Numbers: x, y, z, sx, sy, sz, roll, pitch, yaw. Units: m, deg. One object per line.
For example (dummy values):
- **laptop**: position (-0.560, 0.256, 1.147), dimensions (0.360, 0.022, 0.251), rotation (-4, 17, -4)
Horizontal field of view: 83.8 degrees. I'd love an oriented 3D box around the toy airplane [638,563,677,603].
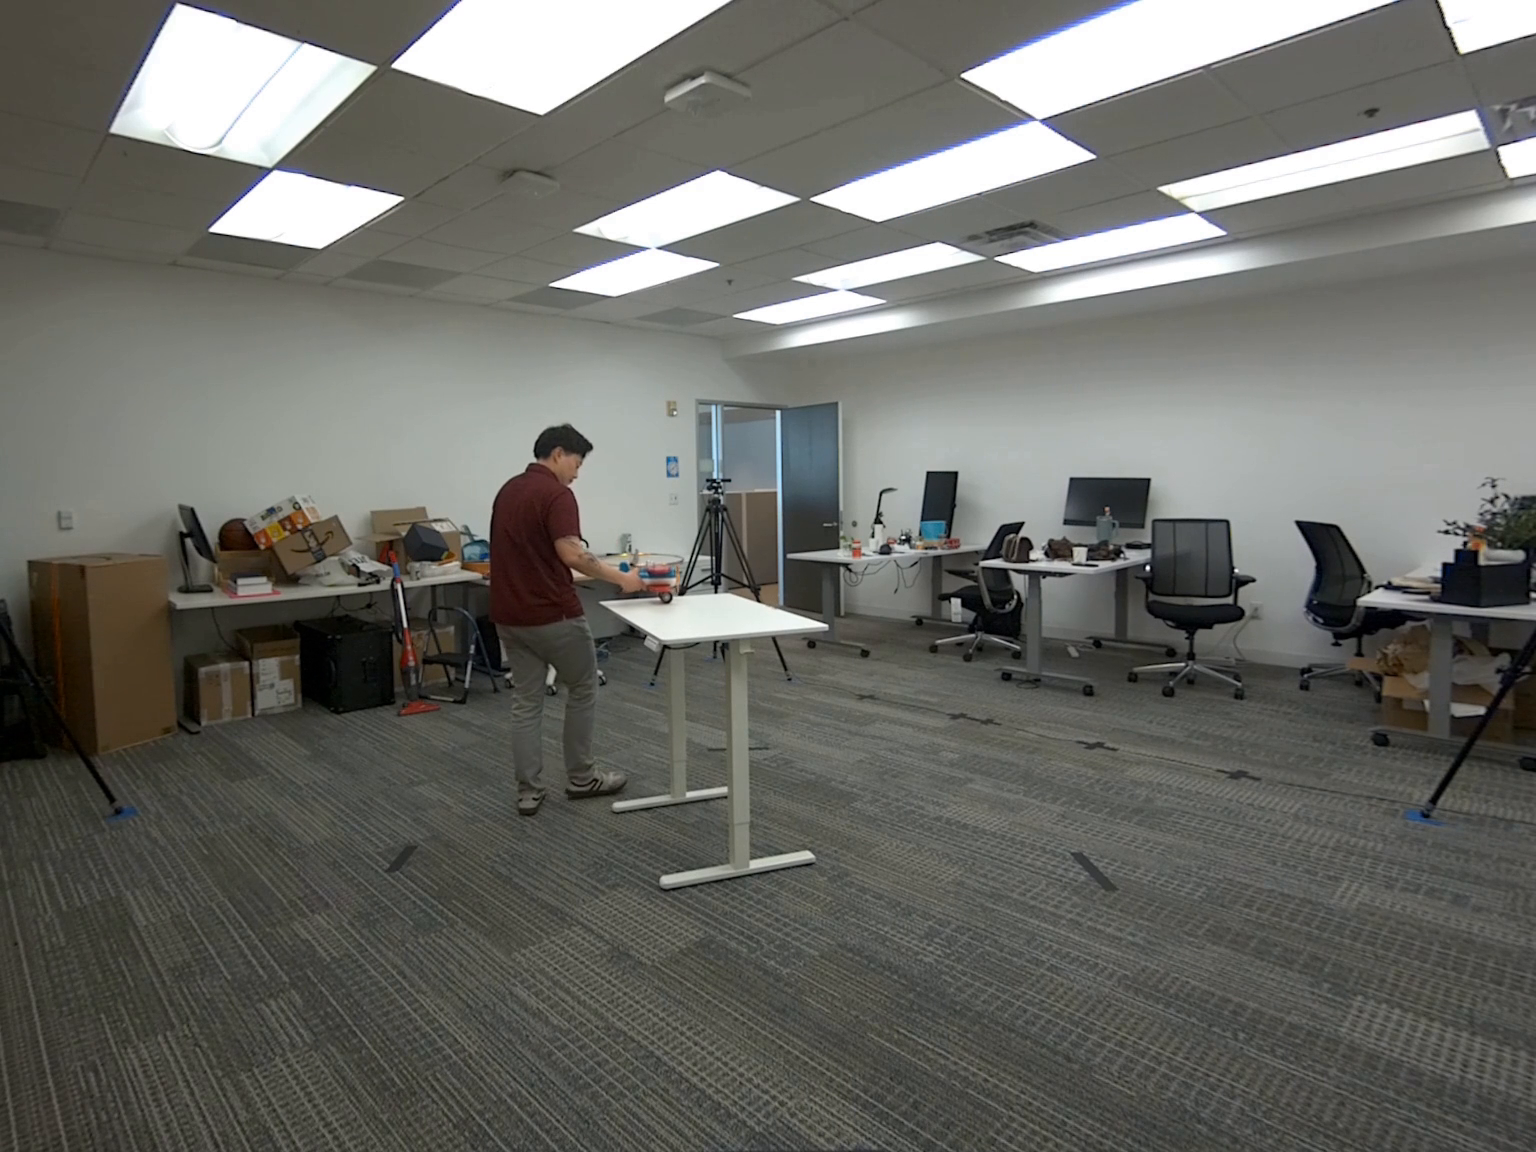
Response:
- **toy airplane**: position (-0.500, 0.021, 3.605), dimensions (0.251, 0.156, 0.260), rotation (11, 4, -38)
